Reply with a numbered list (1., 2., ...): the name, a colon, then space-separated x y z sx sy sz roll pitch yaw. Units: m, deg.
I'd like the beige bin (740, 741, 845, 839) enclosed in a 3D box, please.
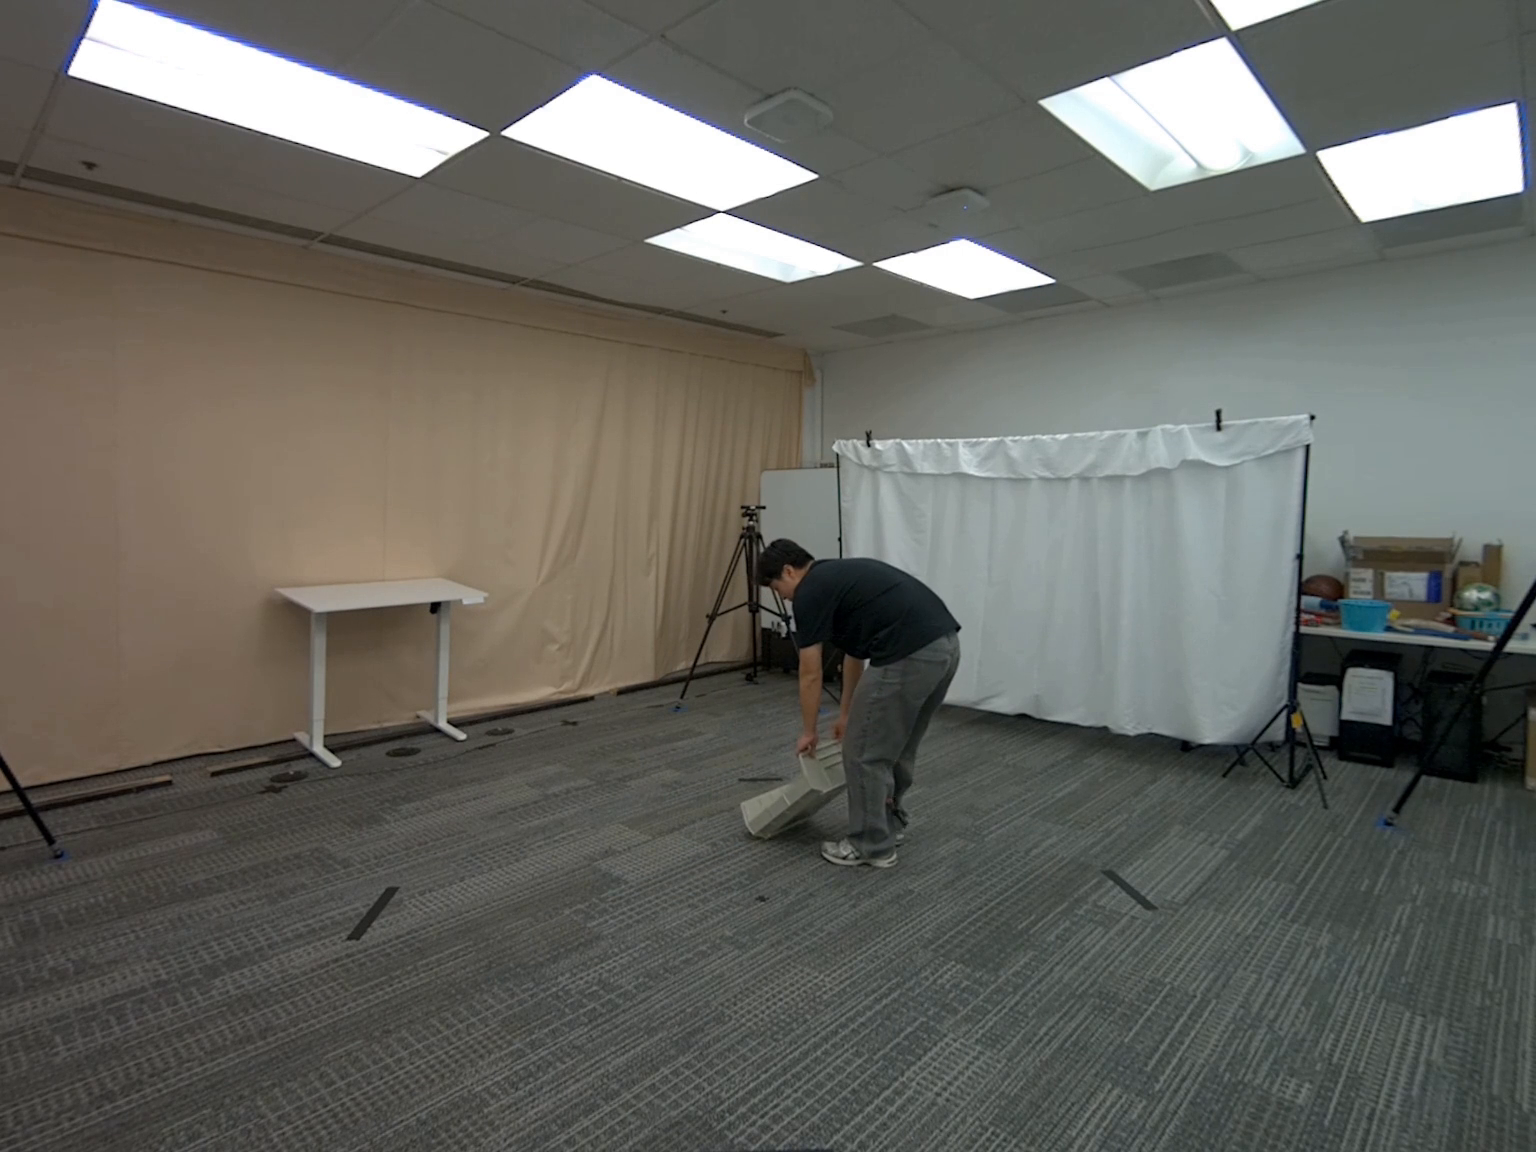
1. beige bin: 0.149 0.893 3.530 0.366 0.193 0.425 -4 -35 -49
